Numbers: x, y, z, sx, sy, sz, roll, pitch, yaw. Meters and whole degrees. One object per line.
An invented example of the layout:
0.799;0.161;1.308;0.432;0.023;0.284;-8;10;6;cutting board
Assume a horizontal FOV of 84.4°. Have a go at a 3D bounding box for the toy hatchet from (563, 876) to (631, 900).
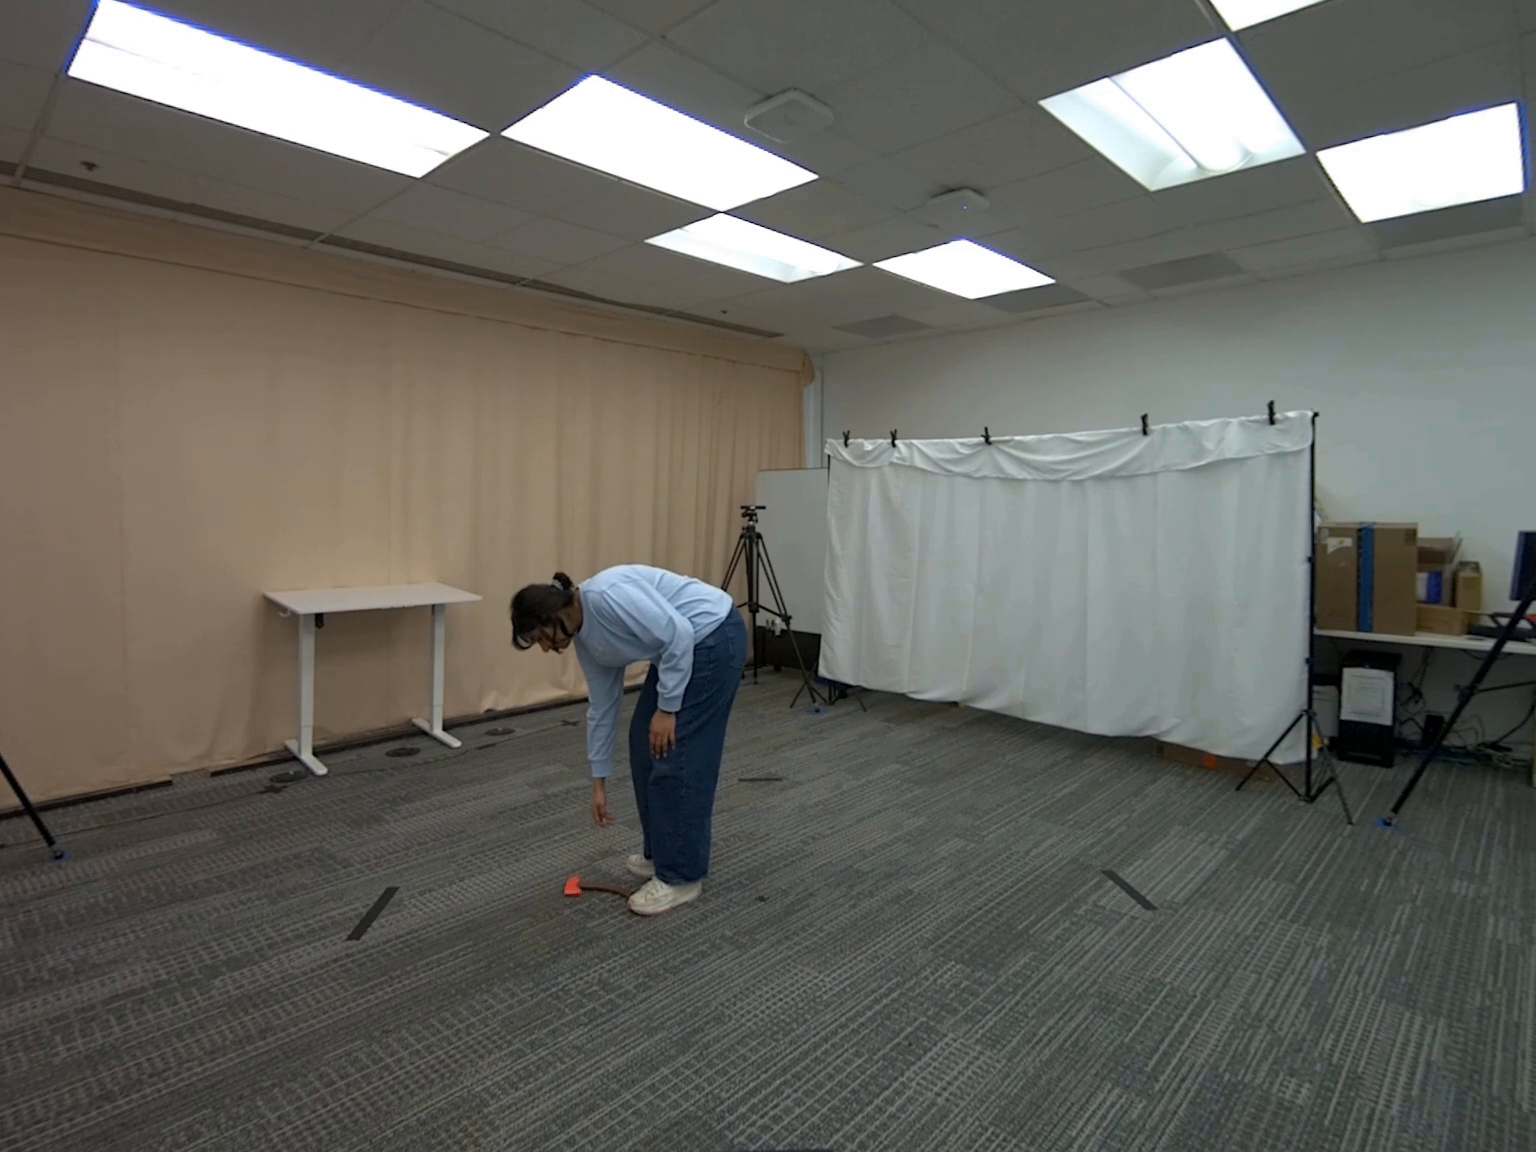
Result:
-0.621;1.134;3.026;0.278;0.029;0.127;5;5;30;toy hatchet
